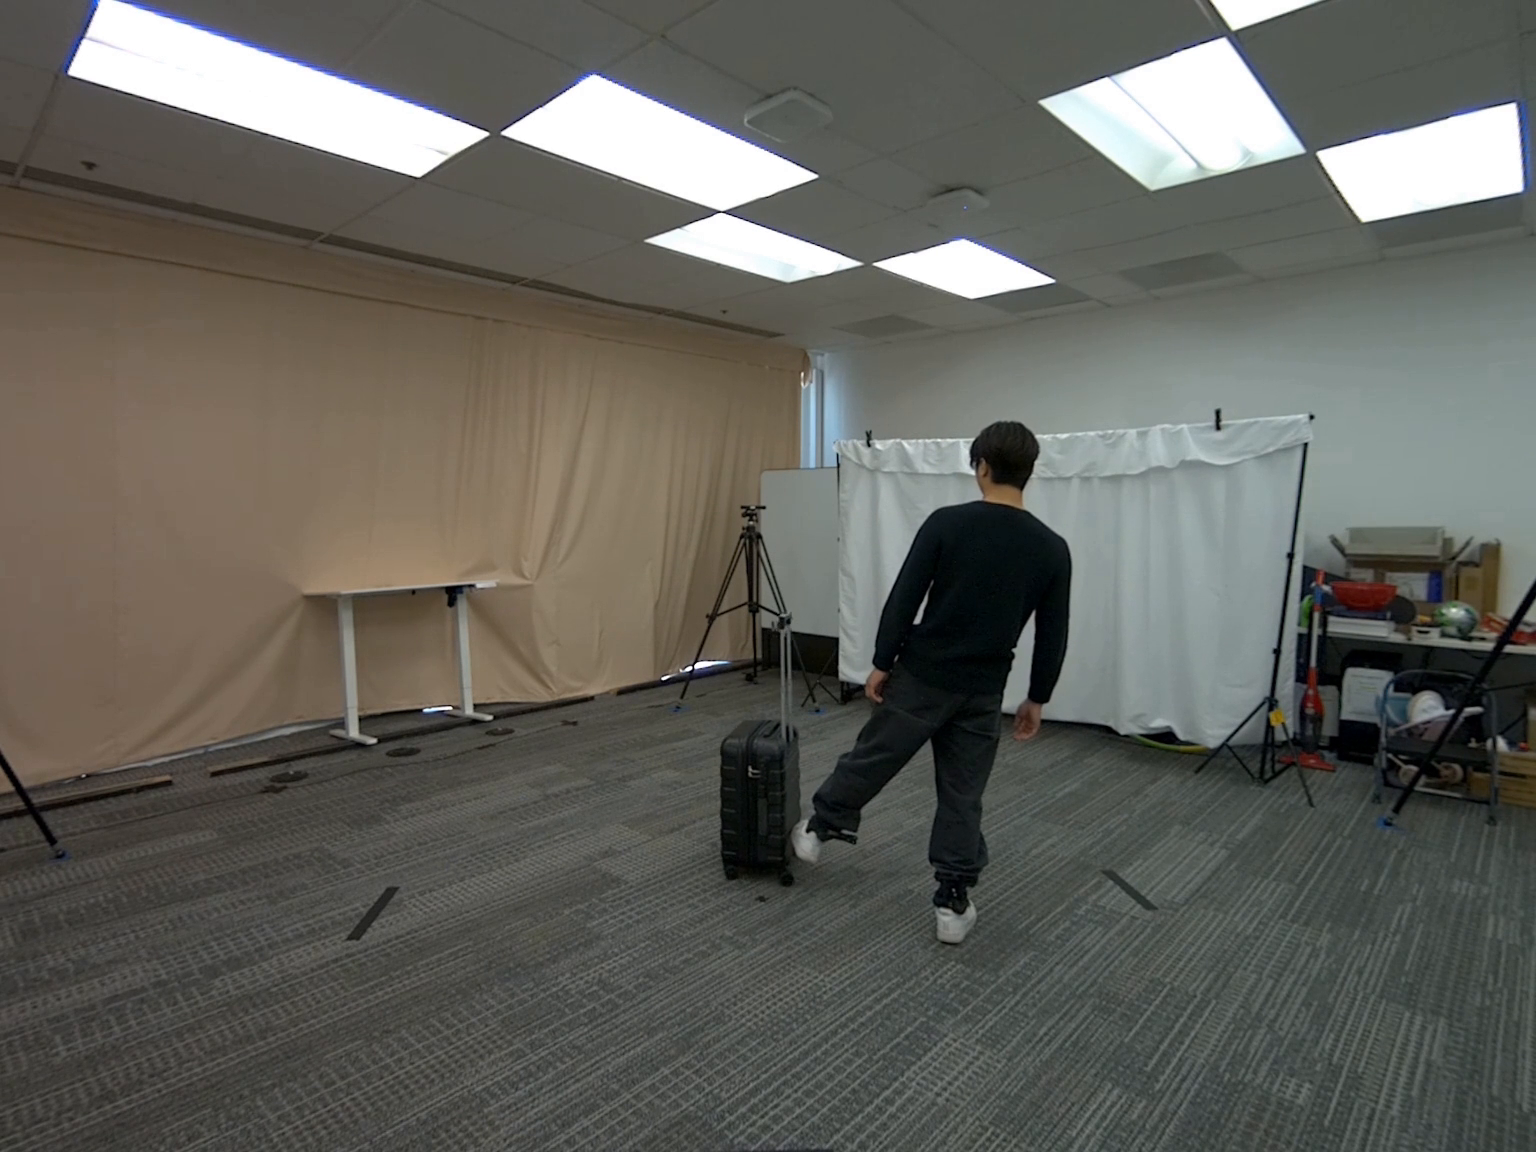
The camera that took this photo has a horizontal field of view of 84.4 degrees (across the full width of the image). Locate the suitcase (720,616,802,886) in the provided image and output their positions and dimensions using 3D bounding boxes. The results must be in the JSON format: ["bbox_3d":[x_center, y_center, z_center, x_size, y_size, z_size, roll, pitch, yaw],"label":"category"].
[{"bbox_3d":[-0.032,0.643,3.237,0.261,0.977,0.379,-1,3,14],"label":"suitcase"}]
